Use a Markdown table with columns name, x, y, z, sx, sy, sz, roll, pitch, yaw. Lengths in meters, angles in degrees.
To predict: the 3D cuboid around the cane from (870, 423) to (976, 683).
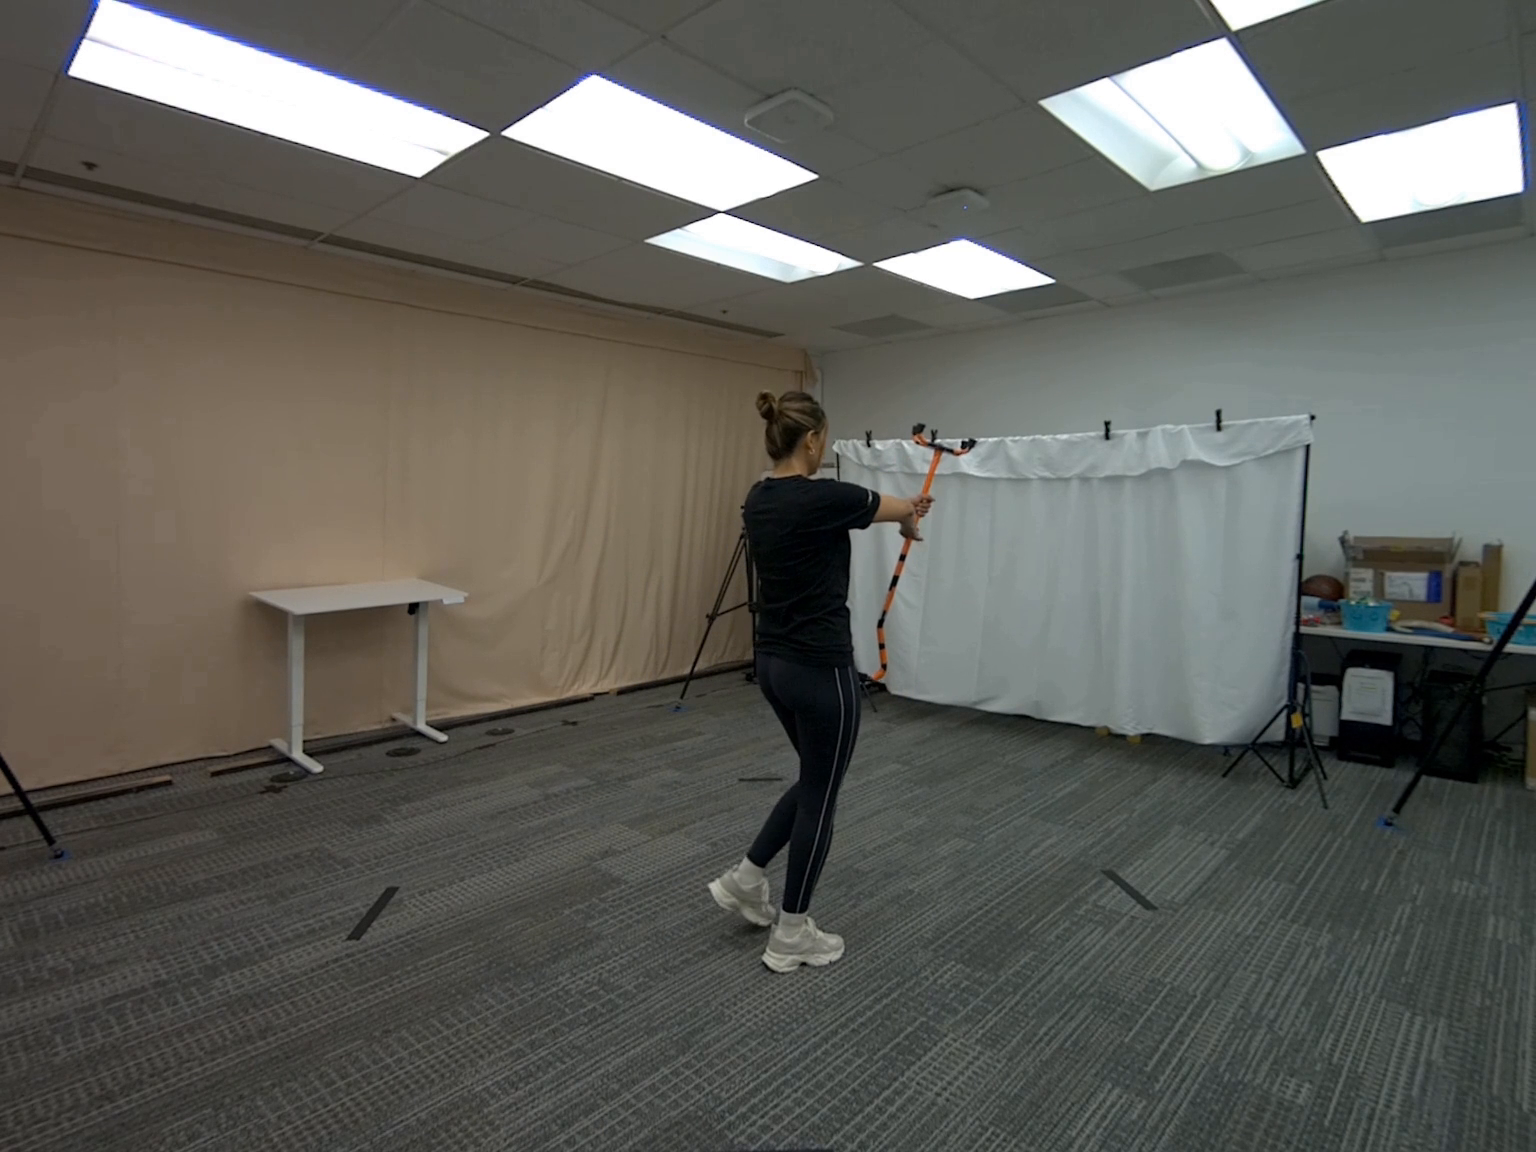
| name | x | y | z | sx | sy | sz | roll | pitch | yaw |
| --- | --- | --- | --- | --- | --- | --- | --- | --- | --- |
| cane | 0.484 | -0.063 | 2.927 | 0.208 | 0.907 | 0.151 | 19 | 5 | 4 |
